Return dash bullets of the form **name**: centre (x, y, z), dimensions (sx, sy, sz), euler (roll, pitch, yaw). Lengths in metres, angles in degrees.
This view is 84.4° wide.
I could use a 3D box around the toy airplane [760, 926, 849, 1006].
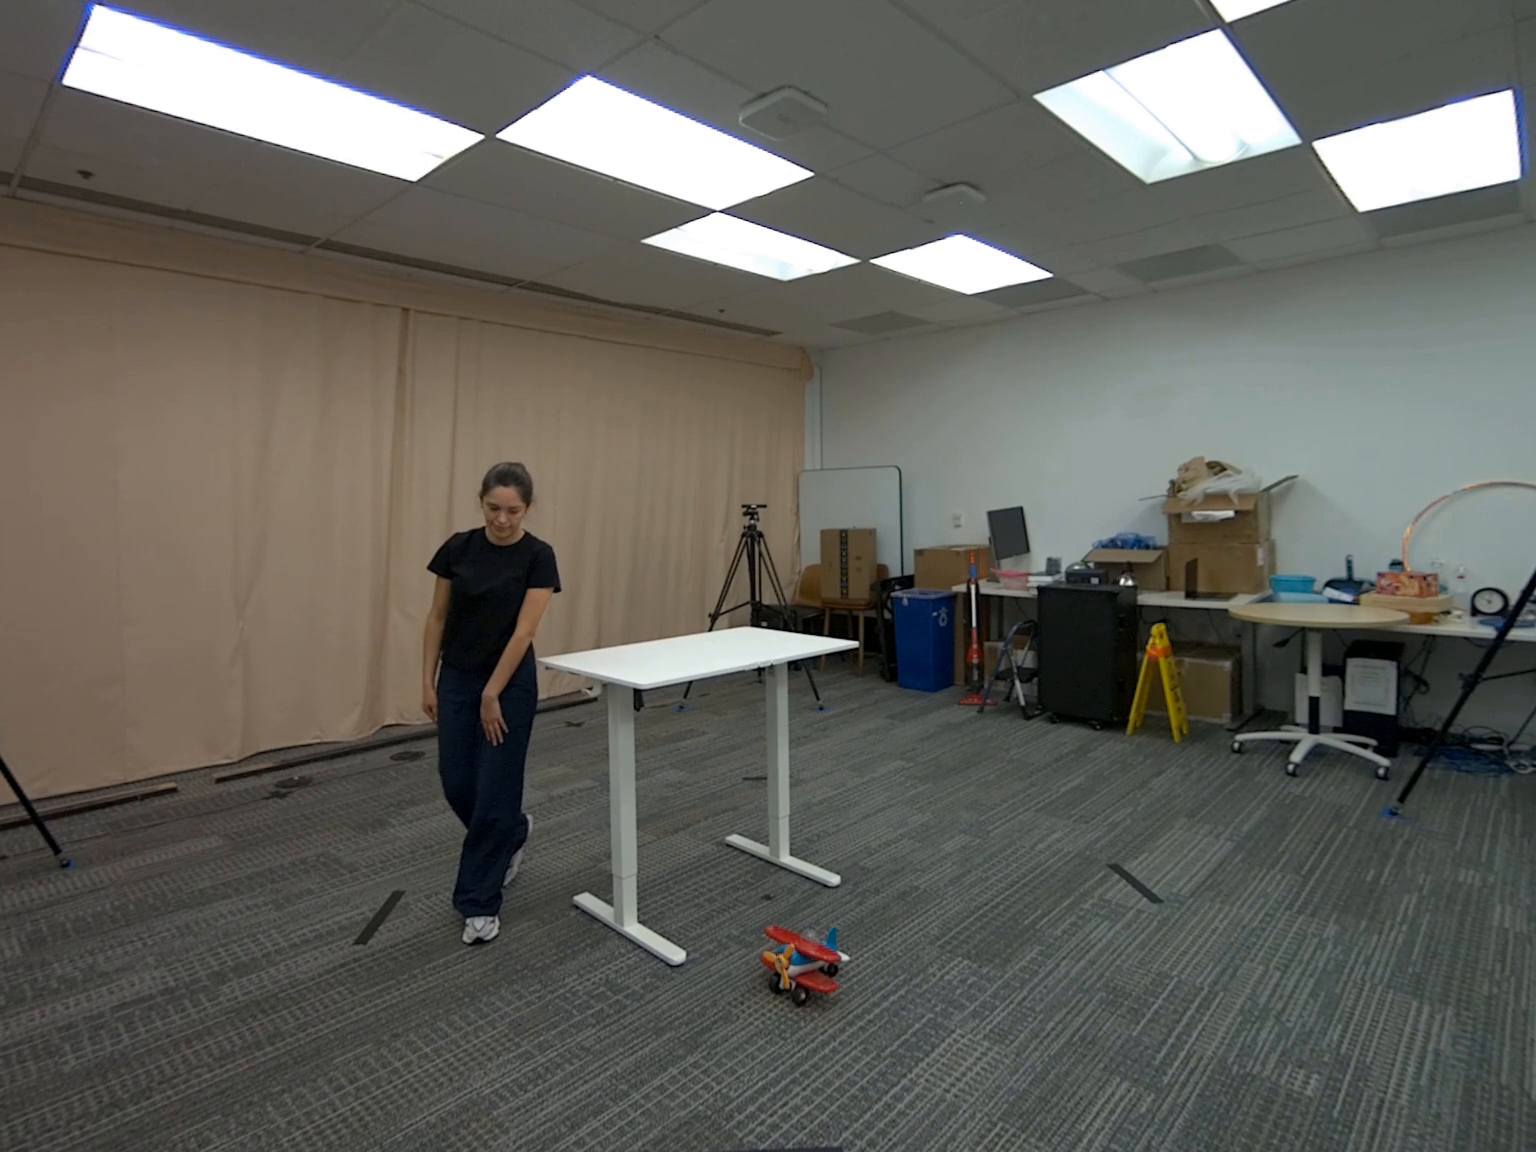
- **toy airplane**: centre (0.118, 1.108, 2.440), dimensions (0.255, 0.156, 0.255), euler (0, 5, 16)
